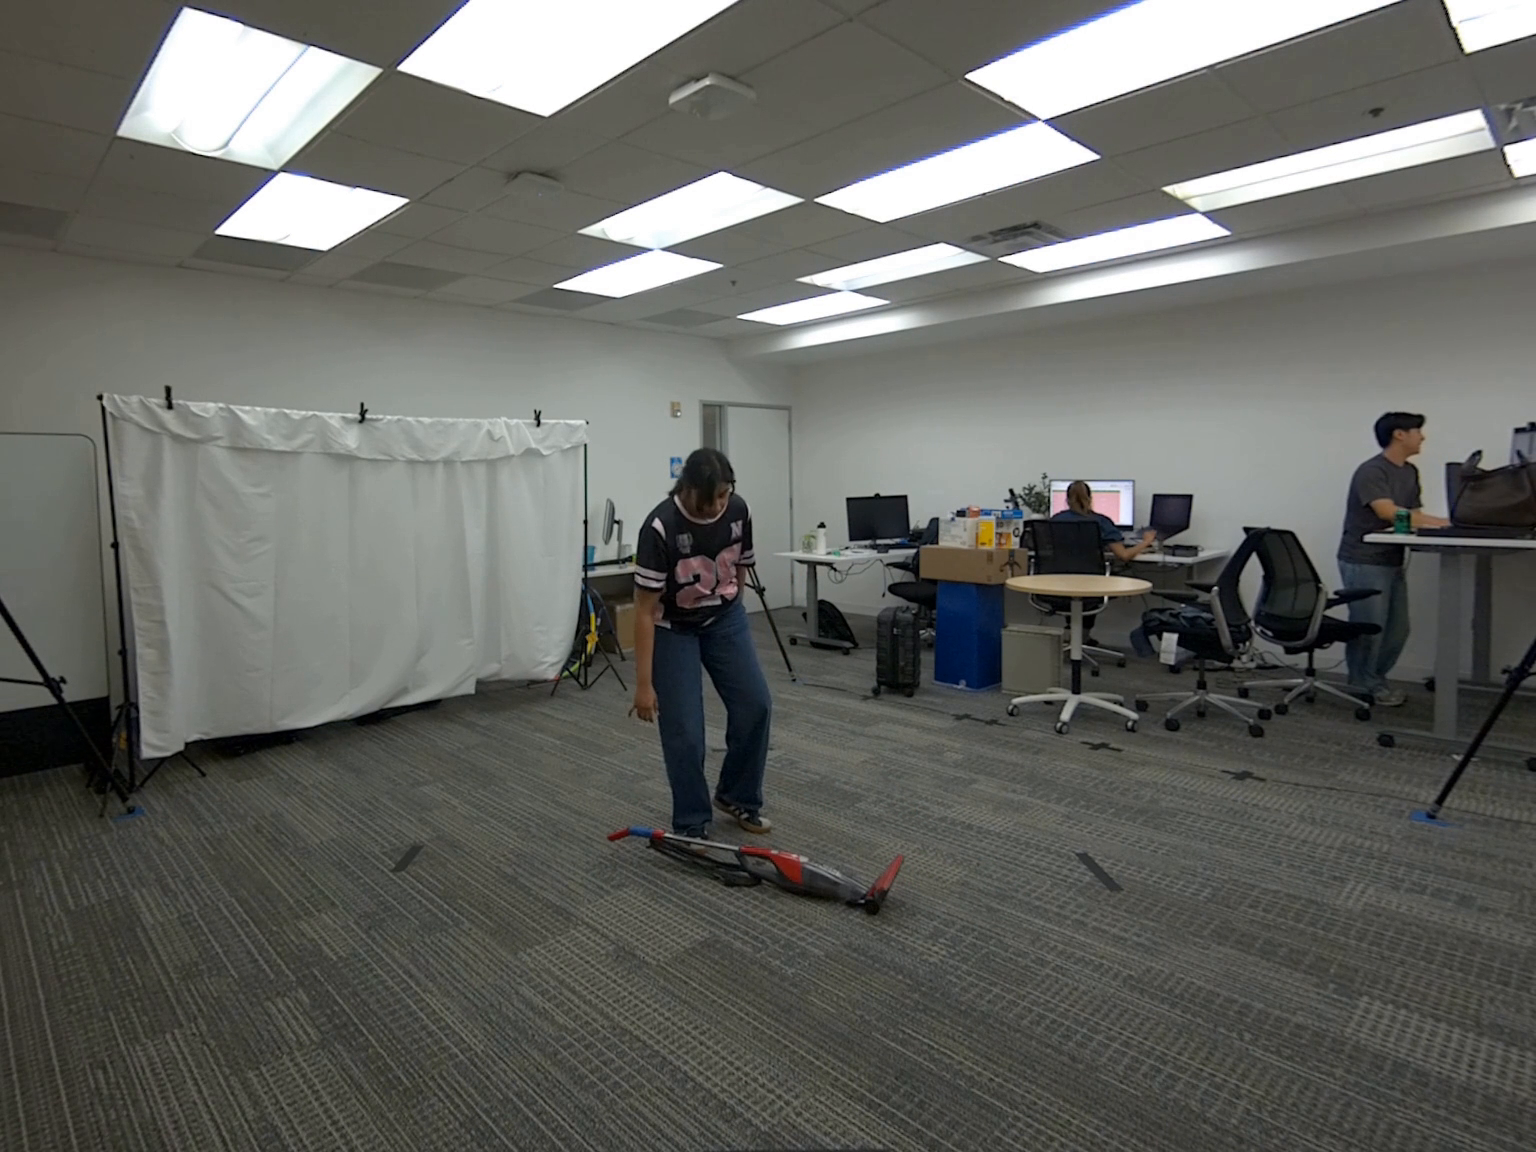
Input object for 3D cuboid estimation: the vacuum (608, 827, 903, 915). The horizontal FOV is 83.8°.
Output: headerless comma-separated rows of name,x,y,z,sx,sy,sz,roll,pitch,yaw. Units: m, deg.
vacuum,-0.100,0.997,2.986,1.072,0.143,0.248,1,7,24
